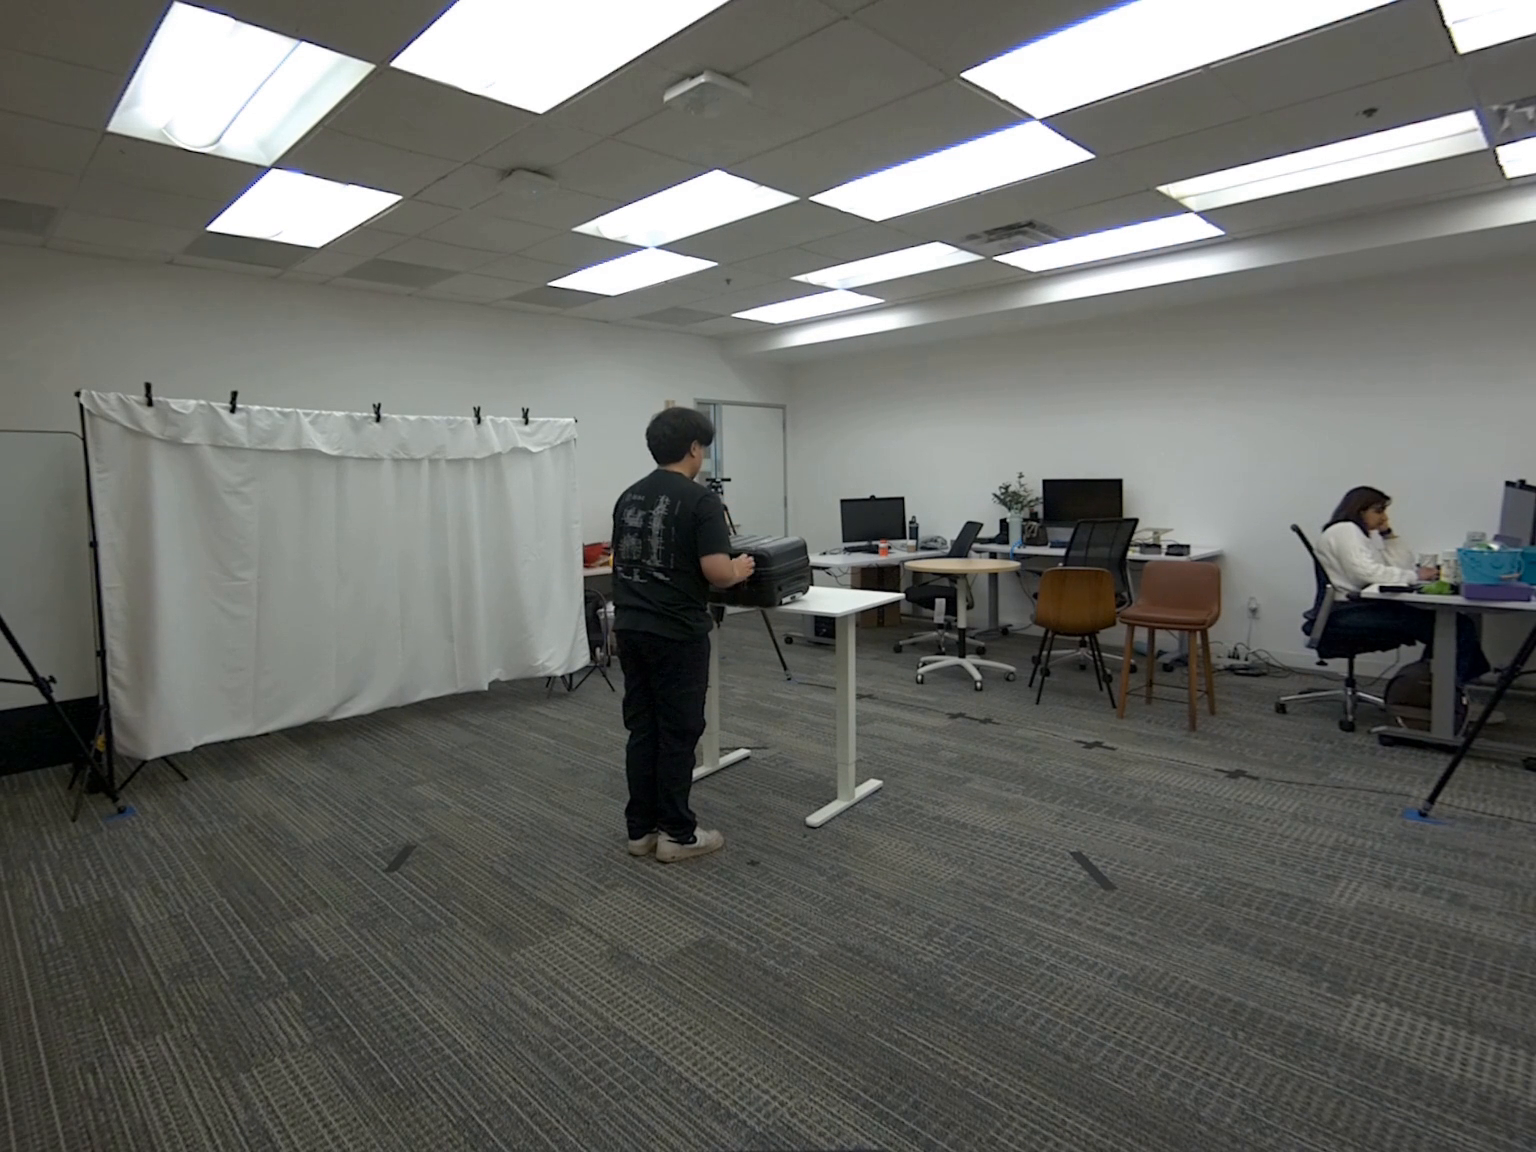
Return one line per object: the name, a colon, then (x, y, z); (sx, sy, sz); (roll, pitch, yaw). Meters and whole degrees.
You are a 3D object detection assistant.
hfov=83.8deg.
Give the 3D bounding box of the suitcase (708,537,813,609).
suitcase: (-0.111, -0.024, 3.634); (0.565, 0.247, 0.367); (3, 10, 37)
